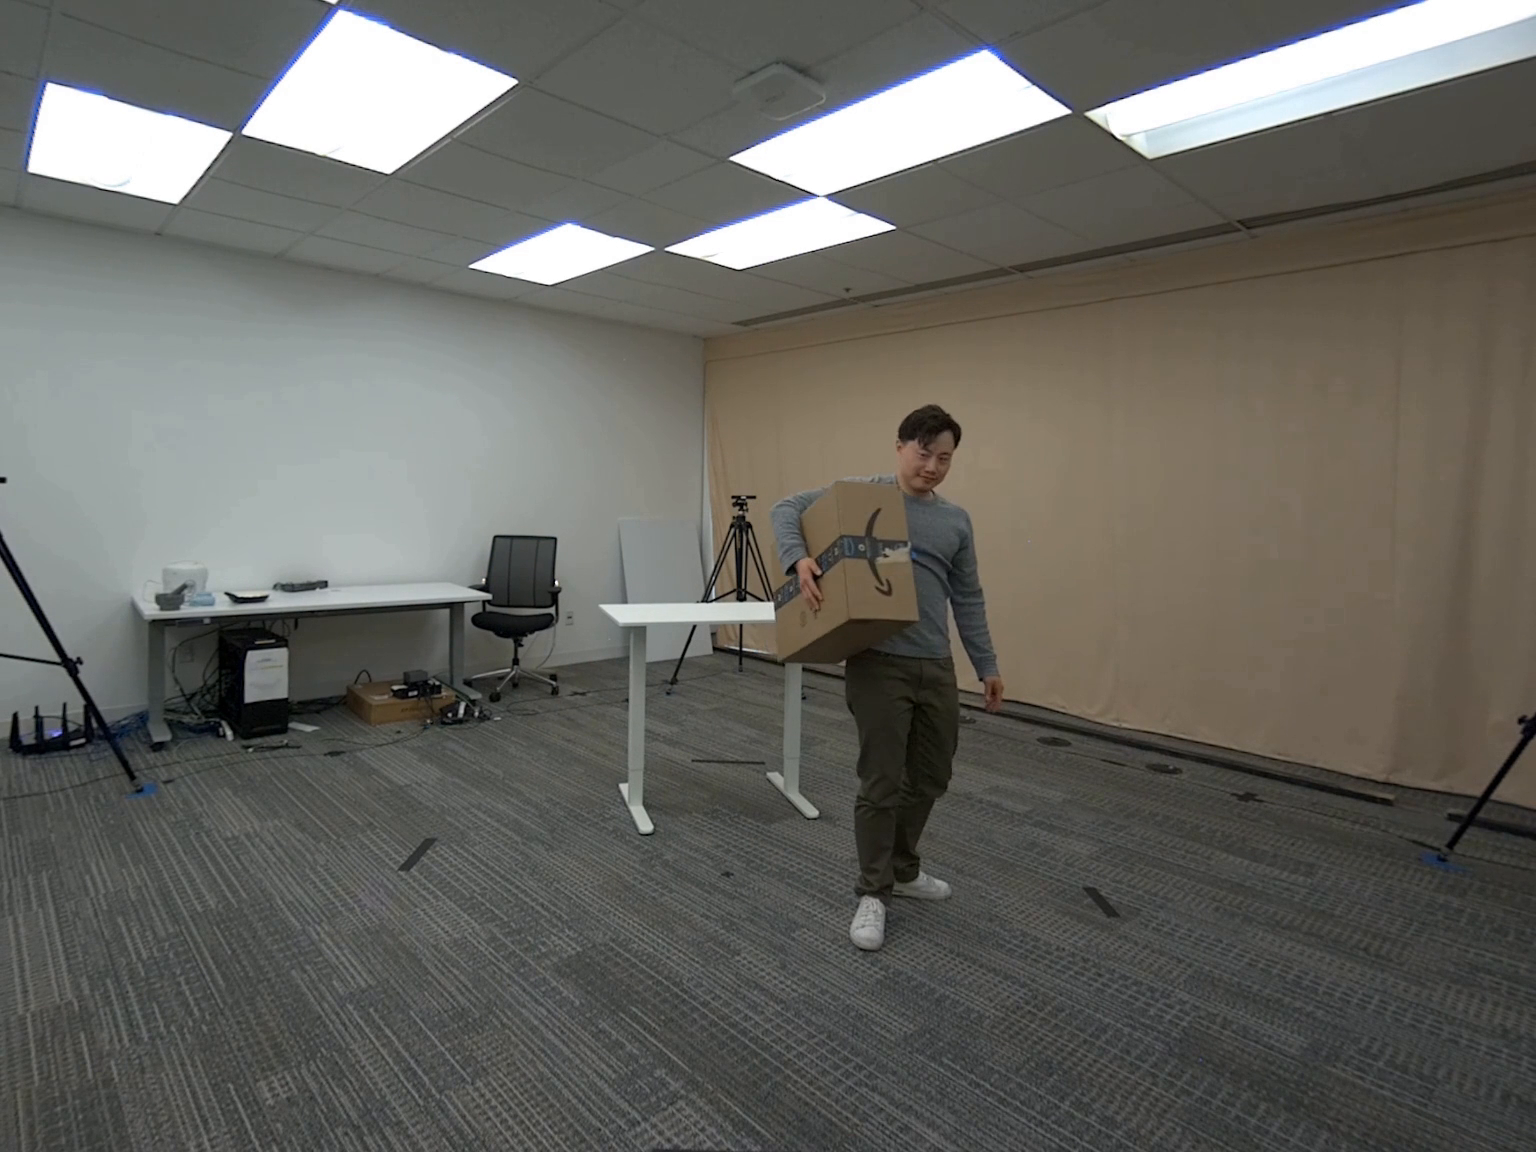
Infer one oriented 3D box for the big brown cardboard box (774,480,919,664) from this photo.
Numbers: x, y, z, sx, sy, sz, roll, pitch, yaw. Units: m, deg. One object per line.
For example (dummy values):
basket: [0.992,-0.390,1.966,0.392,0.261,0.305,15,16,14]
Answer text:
big brown cardboard box: [0.205,0.018,2.625,0.230,0.423,0.589,3,-18,-18]
